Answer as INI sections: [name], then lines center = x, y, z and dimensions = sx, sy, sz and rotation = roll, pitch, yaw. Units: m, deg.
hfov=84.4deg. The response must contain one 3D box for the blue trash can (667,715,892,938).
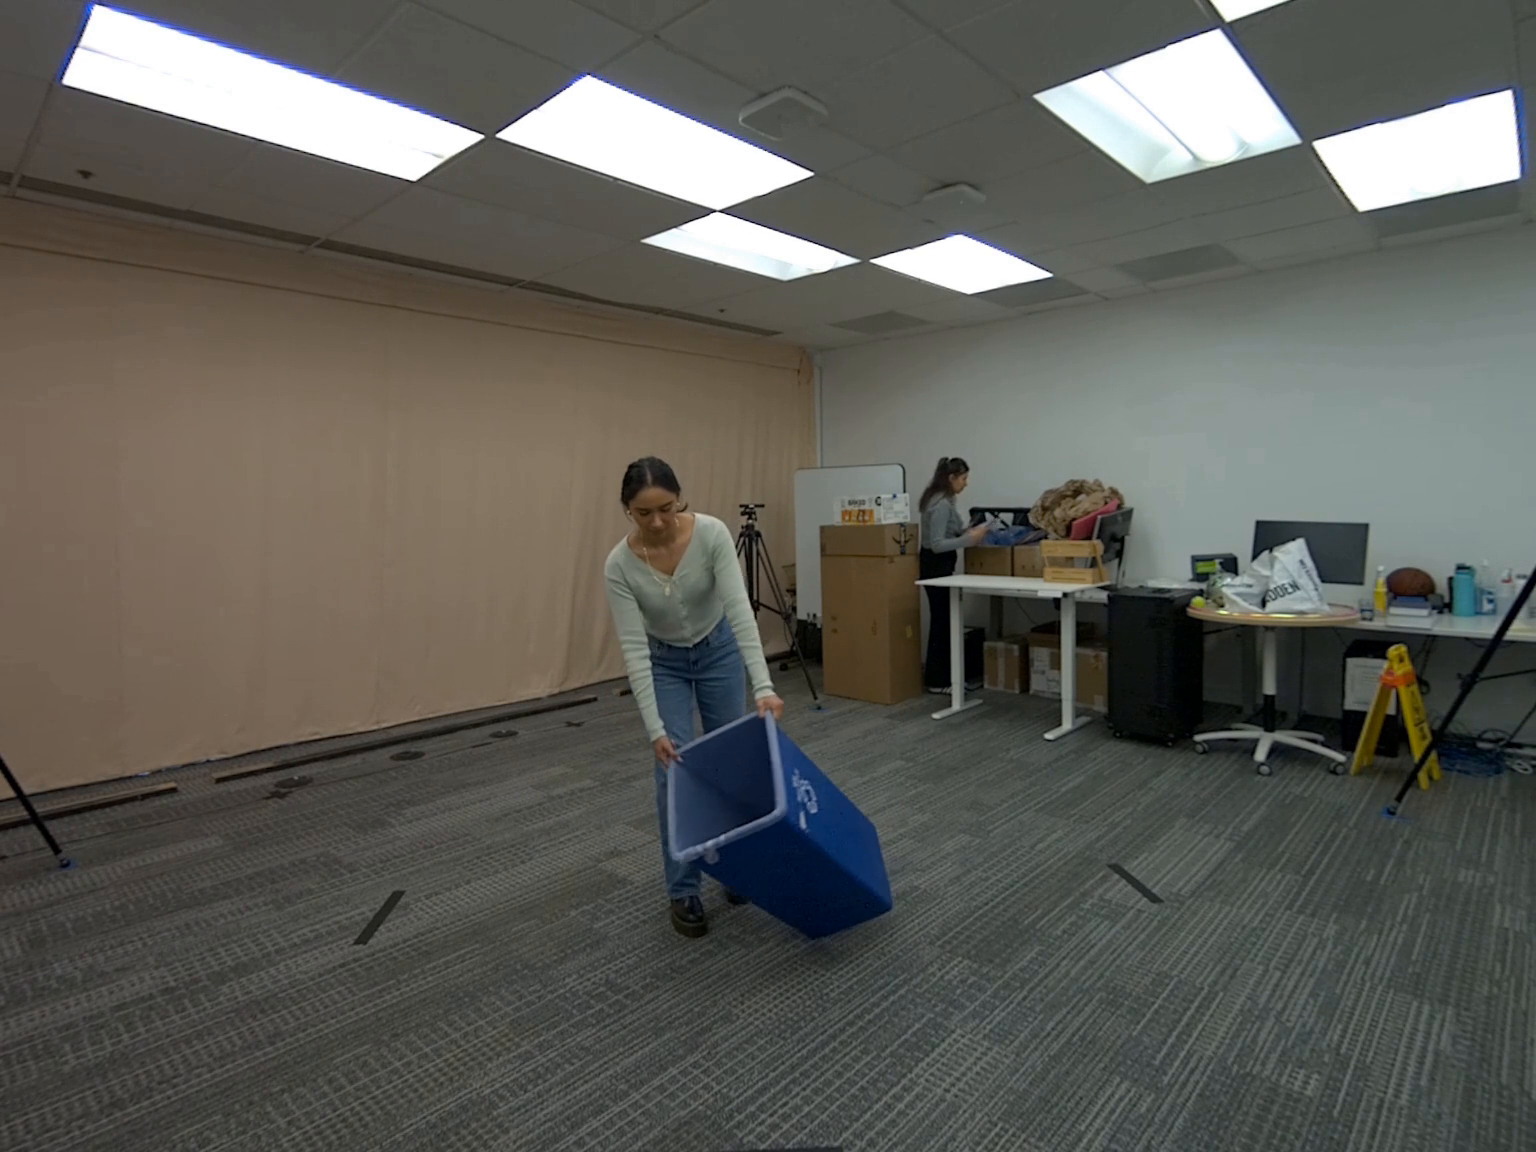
[blue trash can]
center = 0.053, 0.790, 2.571
dimensions = 0.382, 0.690, 0.382
rotation = -29, 37, 18
